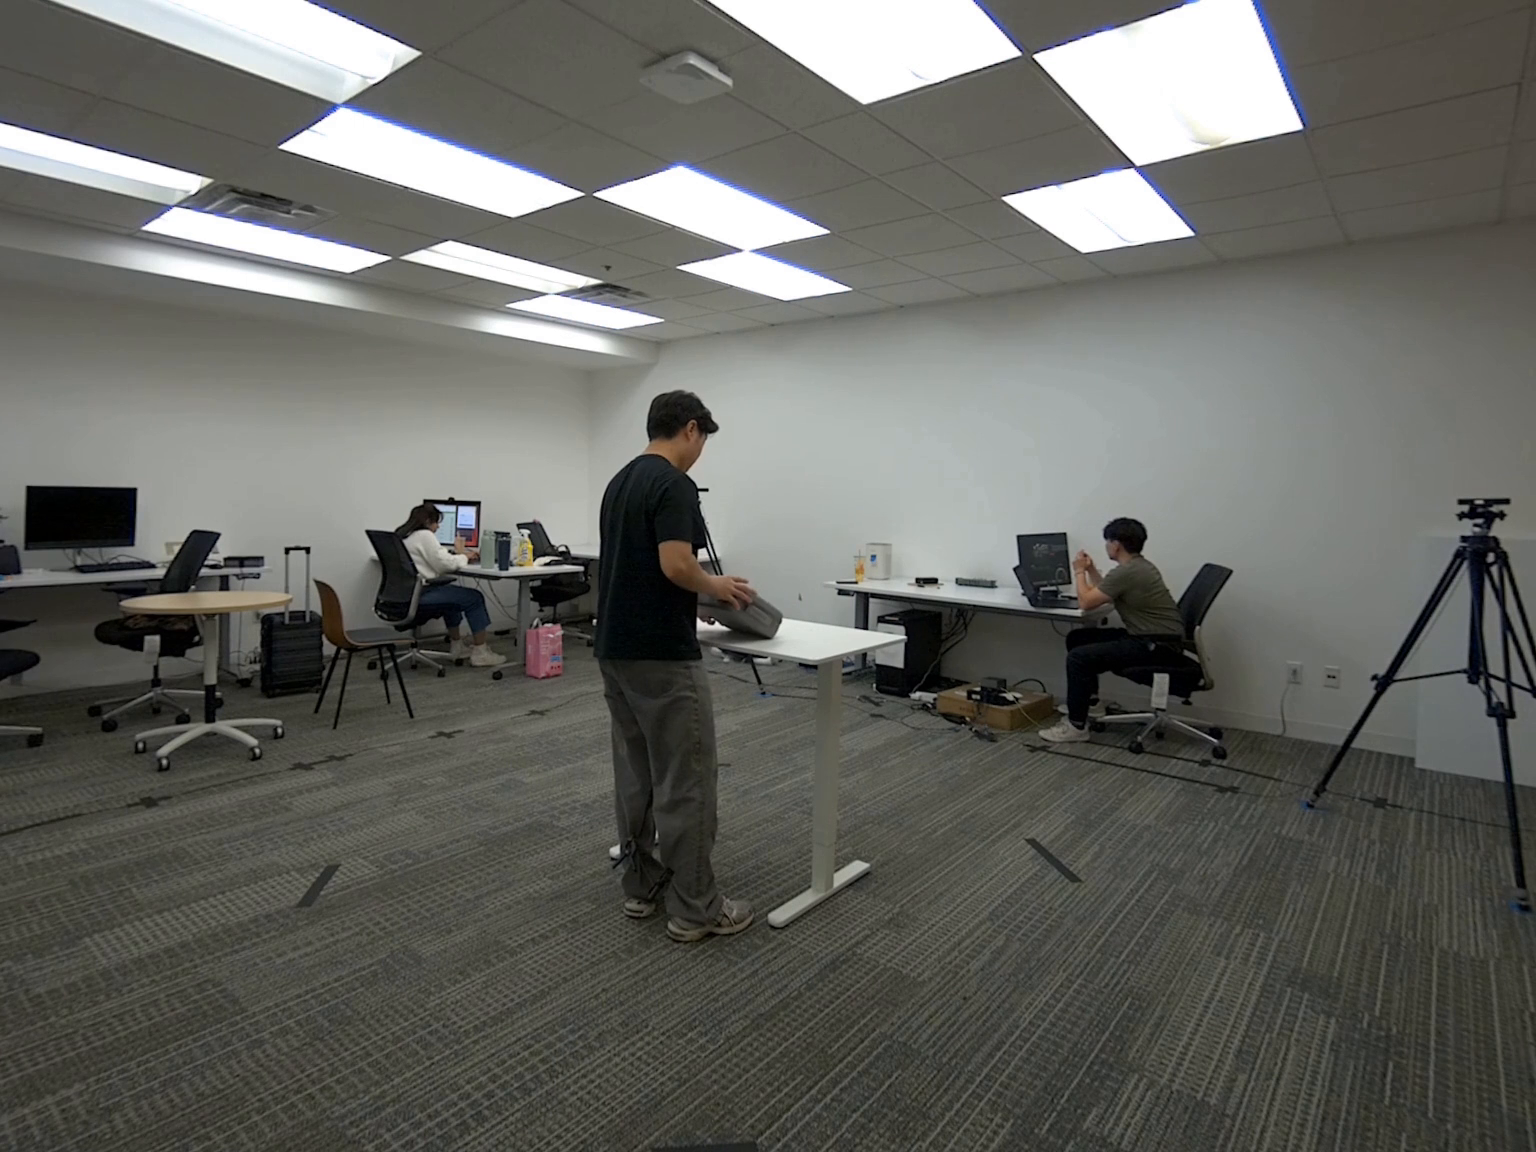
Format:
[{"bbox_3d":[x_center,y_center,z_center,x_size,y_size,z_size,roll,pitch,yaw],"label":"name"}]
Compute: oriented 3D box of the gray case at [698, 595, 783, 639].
[{"bbox_3d":[-0.115,0.108,2.928,0.270,0.105,0.247,8,-24,50],"label":"gray case"}]
